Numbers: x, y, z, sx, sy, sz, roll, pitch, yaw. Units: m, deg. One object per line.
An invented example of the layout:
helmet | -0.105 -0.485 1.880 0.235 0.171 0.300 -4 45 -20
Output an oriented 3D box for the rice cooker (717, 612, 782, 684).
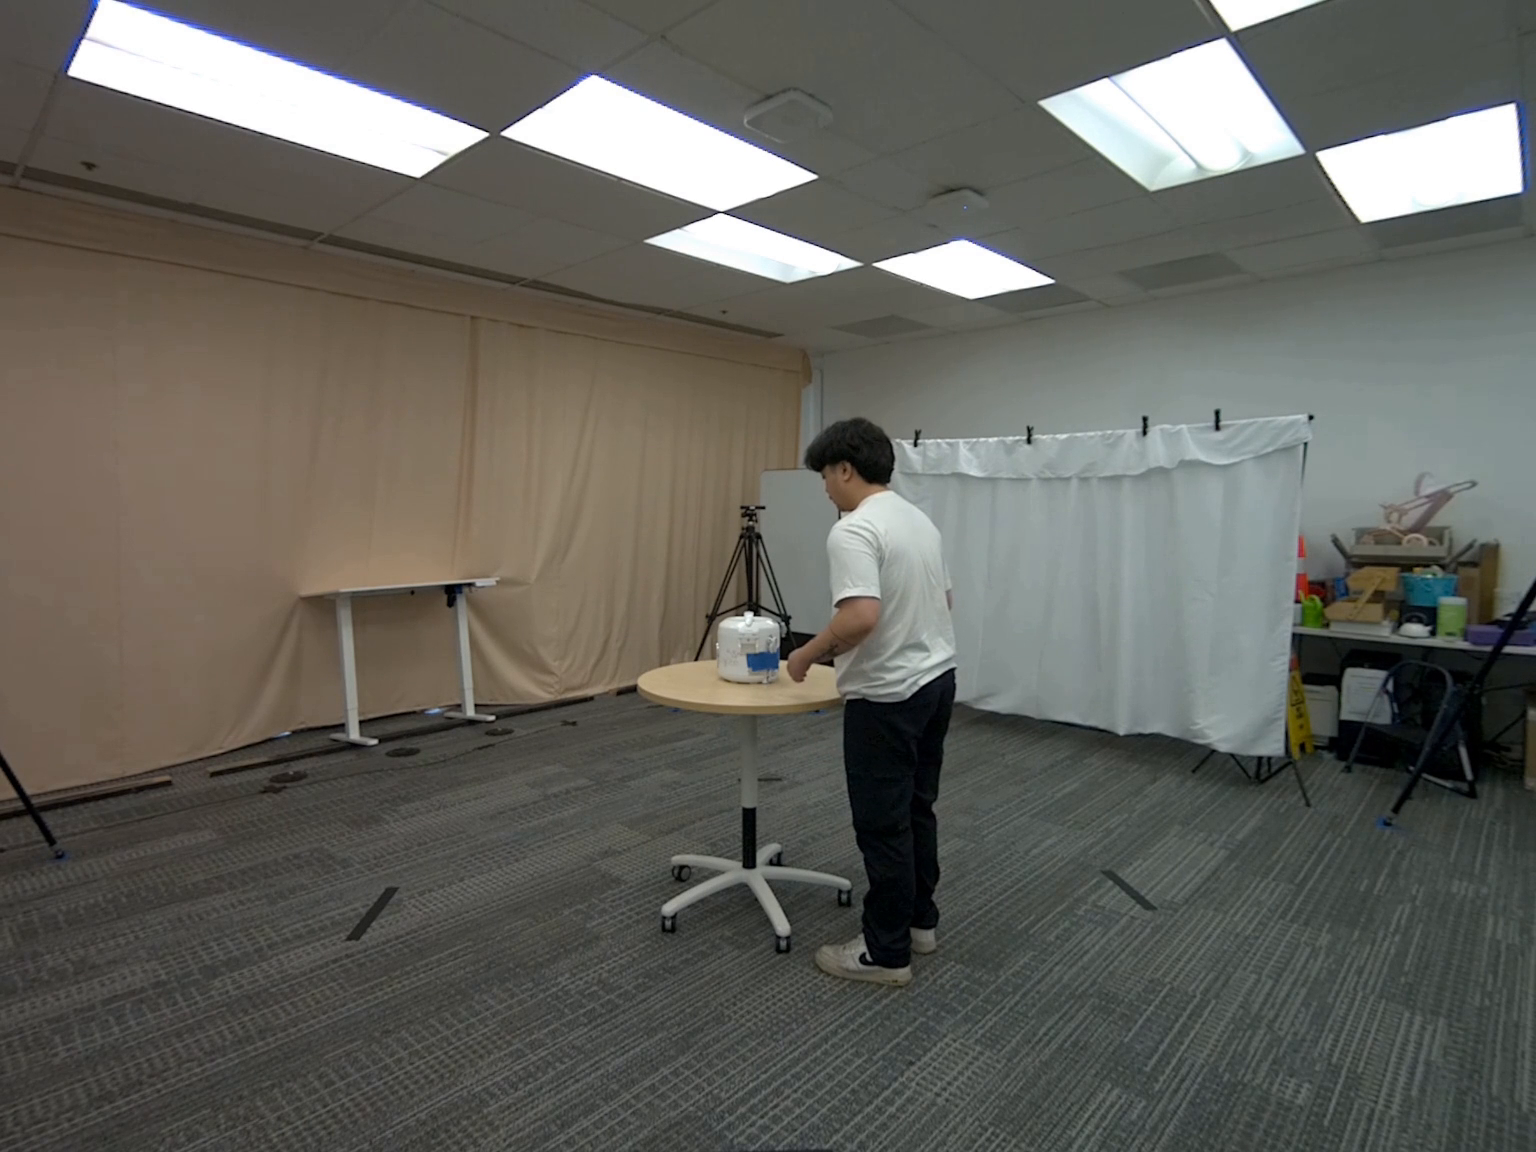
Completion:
rice cooker | -0.070 0.236 2.891 0.218 0.232 0.220 0 3 2
